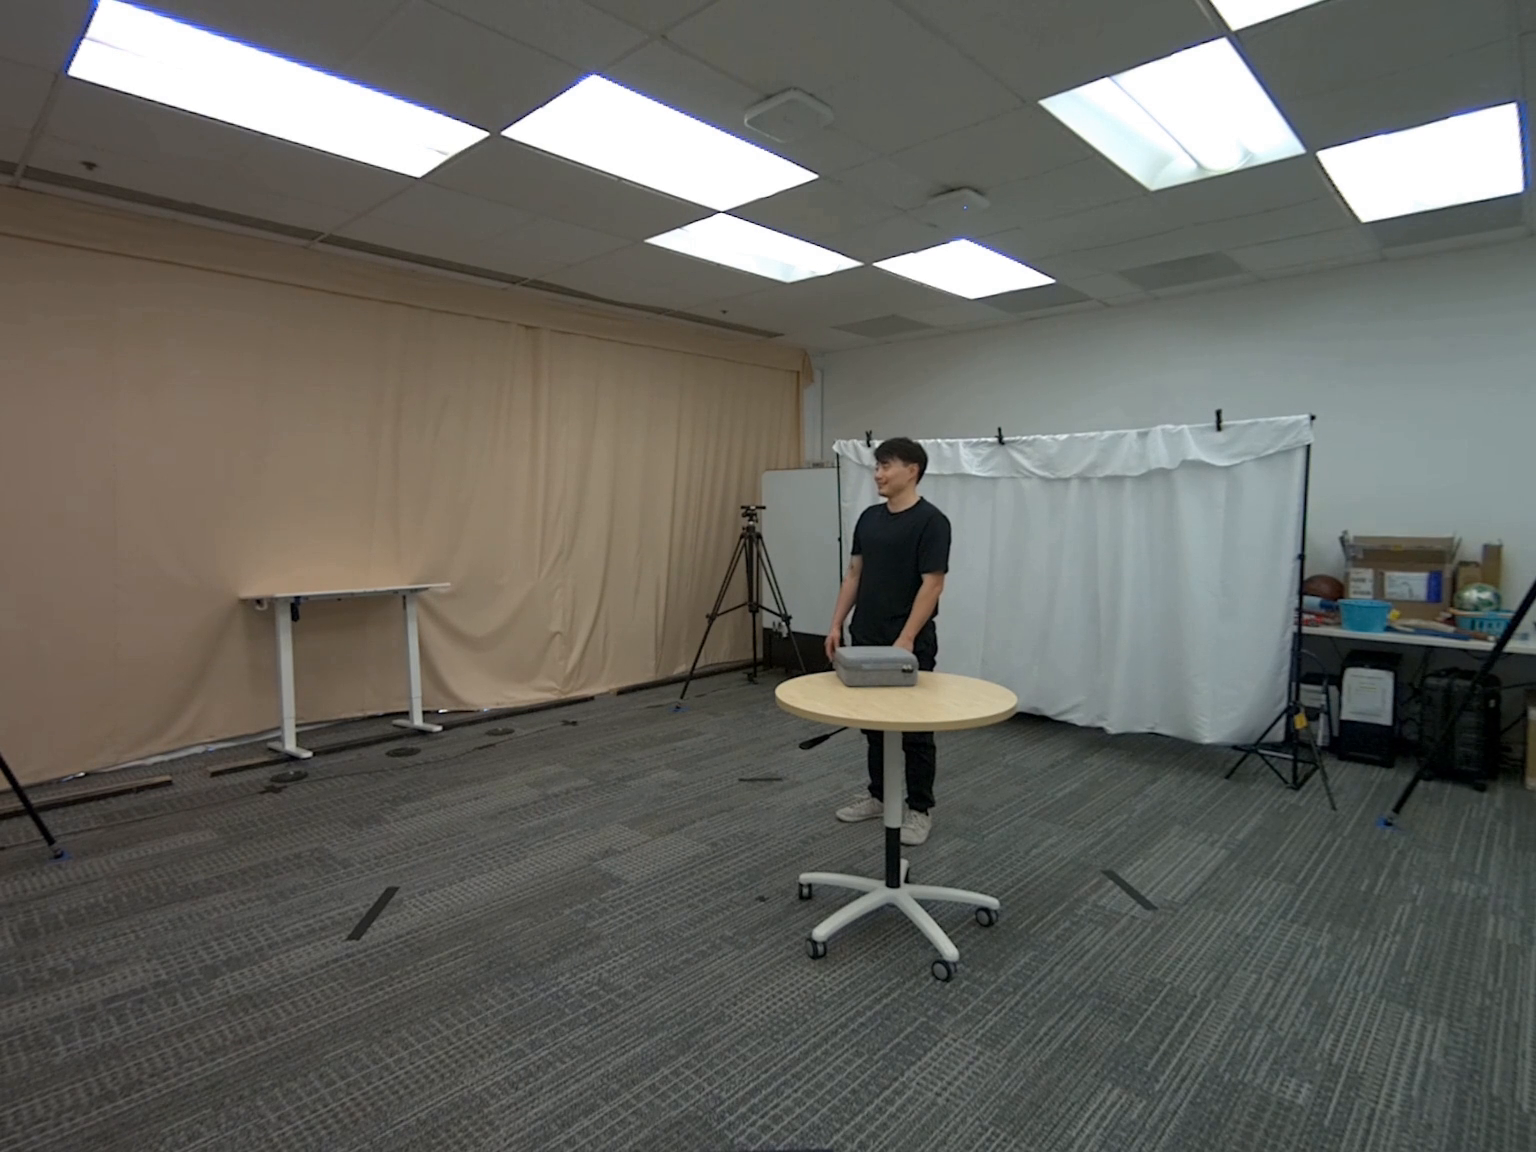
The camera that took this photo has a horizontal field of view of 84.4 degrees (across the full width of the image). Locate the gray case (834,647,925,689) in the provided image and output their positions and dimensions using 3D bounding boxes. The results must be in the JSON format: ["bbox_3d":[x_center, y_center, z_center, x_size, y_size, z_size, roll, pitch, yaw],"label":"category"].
[{"bbox_3d":[0.376,0.311,2.919,0.256,0.104,0.261,-1,2,-3],"label":"gray case"}]
